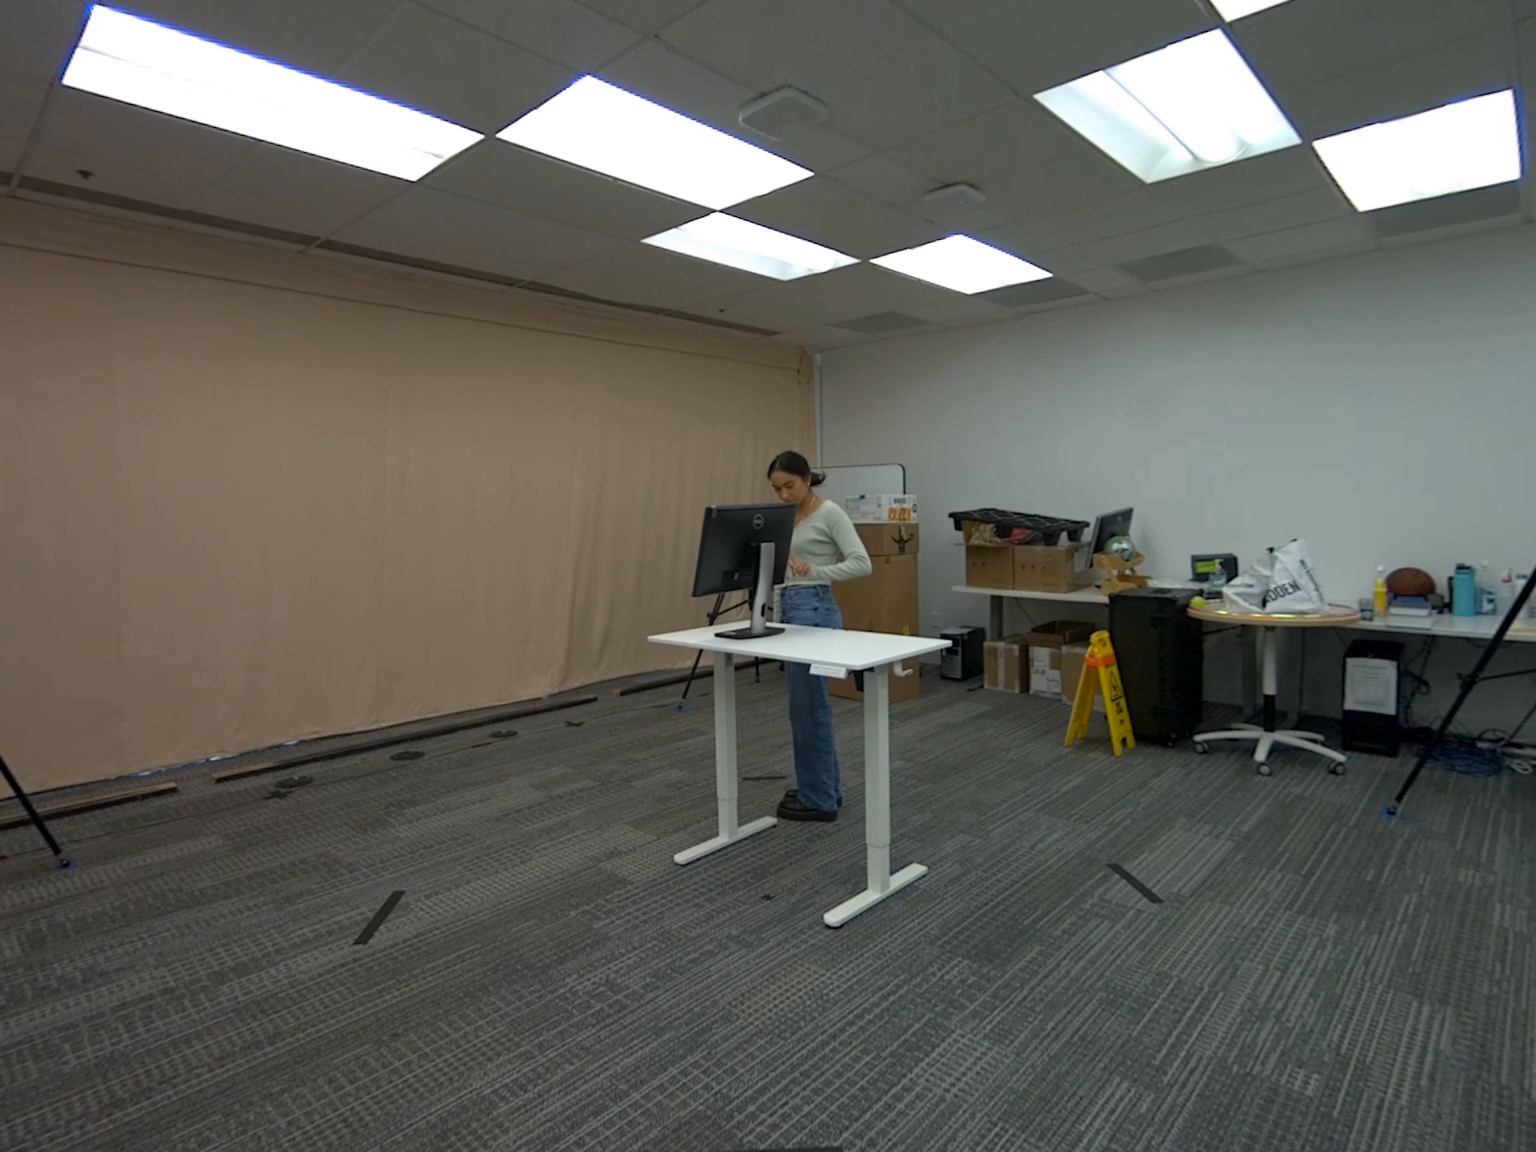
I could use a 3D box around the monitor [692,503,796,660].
[{"bbox_3d":[-0.050,-0.017,3.295,0.193,0.521,0.523,6,7,43],"label":"monitor"}]
